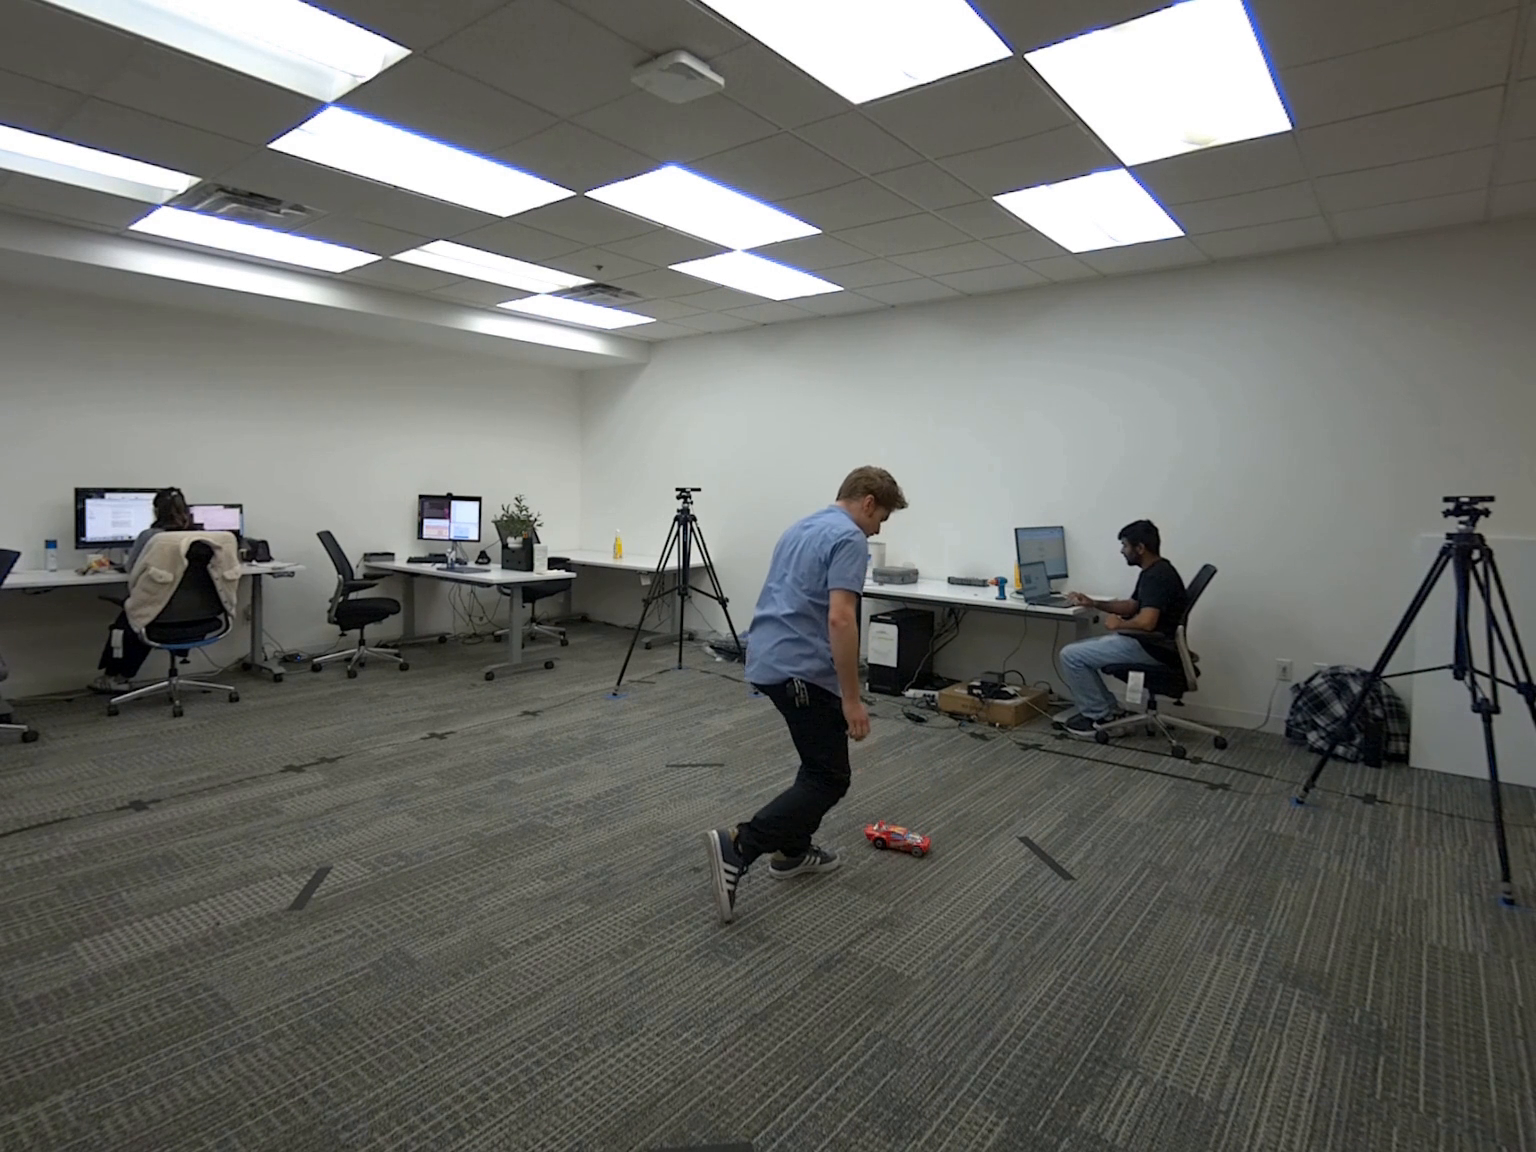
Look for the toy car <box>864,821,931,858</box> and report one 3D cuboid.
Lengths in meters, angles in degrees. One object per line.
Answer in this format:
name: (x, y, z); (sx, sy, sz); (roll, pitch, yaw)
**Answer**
toy car: (0.495, 1.027, 3.341); (0.262, 0.083, 0.127); (16, 10, 23)
